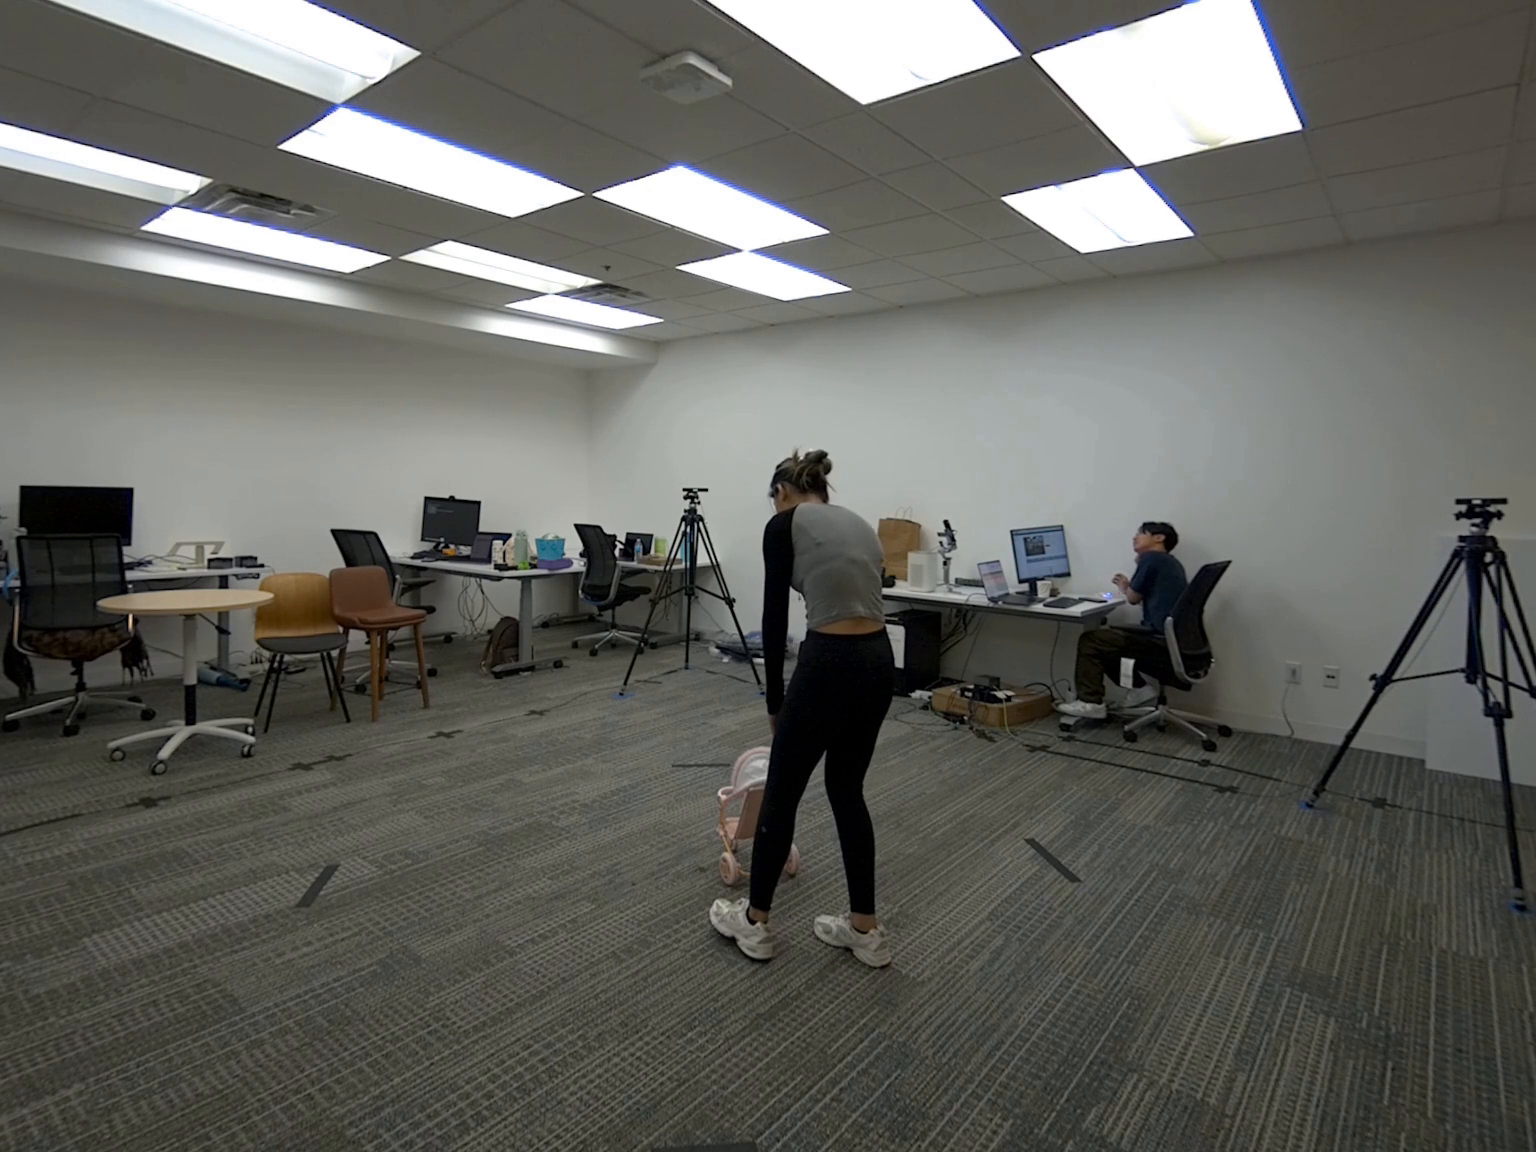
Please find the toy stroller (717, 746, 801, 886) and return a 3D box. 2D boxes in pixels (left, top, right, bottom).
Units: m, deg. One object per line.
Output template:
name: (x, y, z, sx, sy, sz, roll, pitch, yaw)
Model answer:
toy stroller: (-0.055, 0.849, 3.095, 0.276, 0.527, 0.353, 1, 20, -21)
